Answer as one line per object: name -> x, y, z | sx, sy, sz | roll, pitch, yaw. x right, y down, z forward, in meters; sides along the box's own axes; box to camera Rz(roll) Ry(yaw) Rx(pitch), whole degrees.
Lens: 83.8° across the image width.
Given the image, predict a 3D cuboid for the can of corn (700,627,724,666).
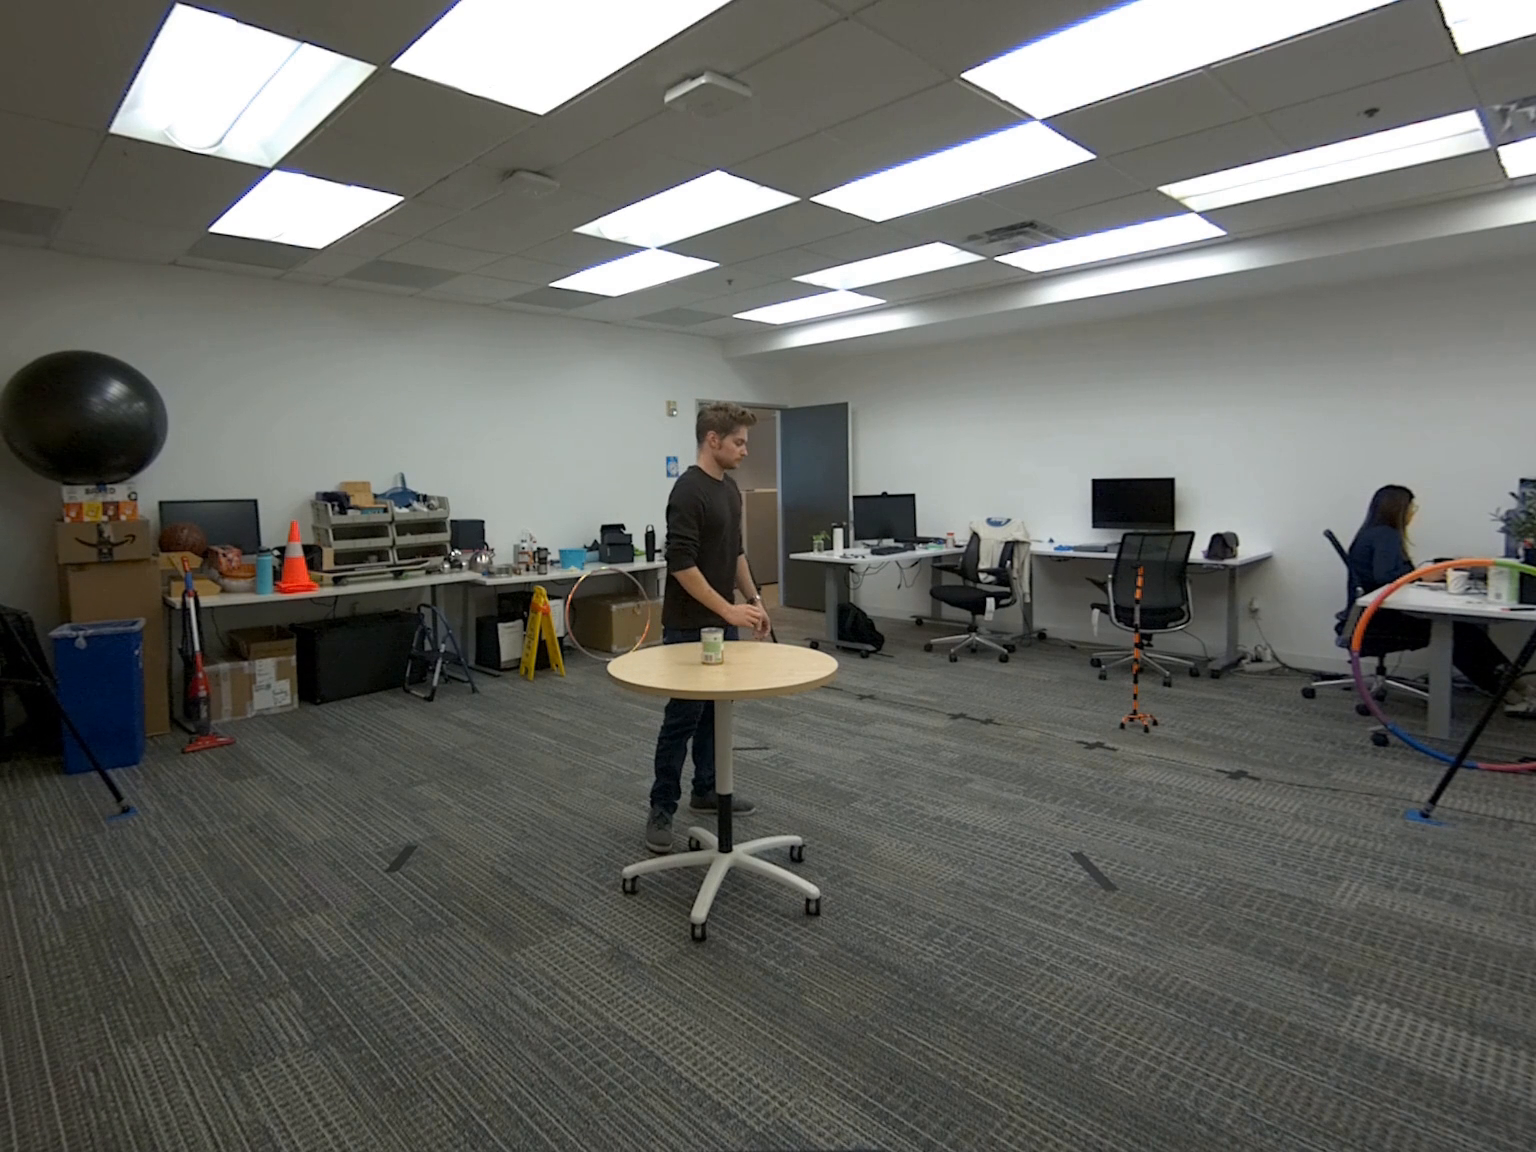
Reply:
can of corn -> -0.190, 0.240, 2.850 | 0.074, 0.111, 0.074 | -3, 3, -1
